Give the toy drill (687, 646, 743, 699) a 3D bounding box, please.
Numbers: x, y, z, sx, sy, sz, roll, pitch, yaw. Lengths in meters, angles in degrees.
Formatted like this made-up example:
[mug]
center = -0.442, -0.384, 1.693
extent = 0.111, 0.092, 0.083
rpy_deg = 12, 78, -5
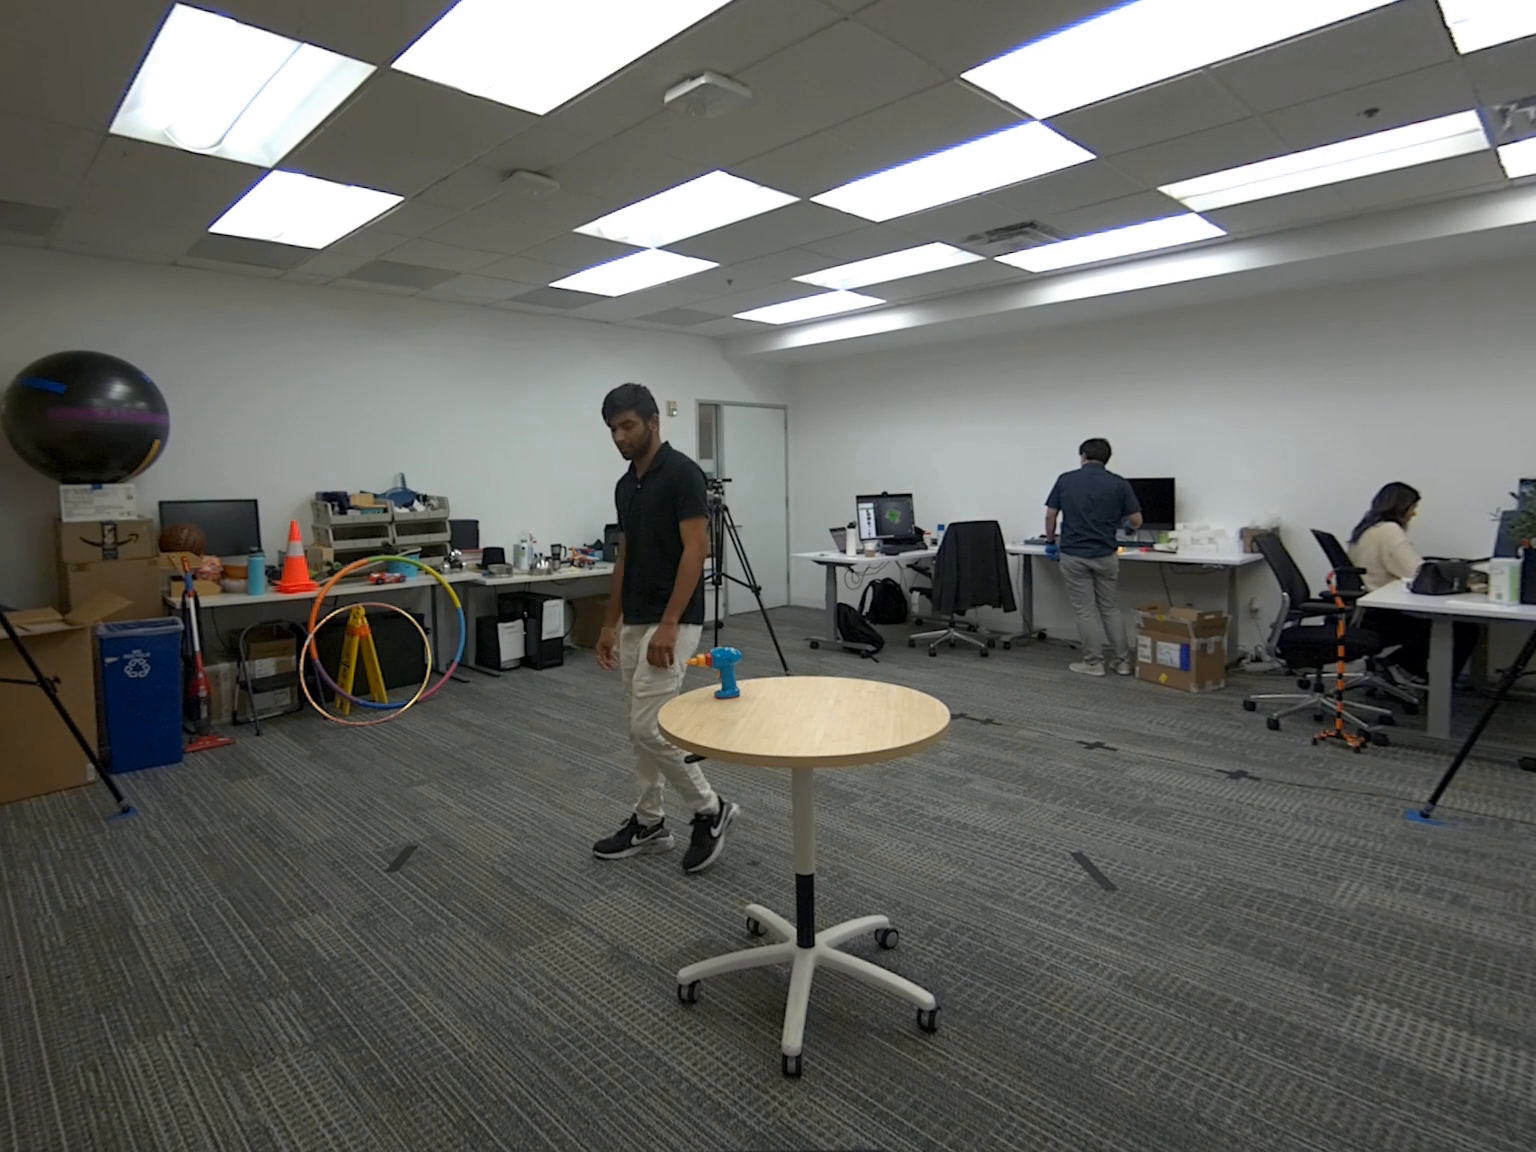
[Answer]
[toy drill]
center = -0.152, 0.275, 2.406
extent = 0.167, 0.145, 0.063
rpy_deg = -4, 8, -21
